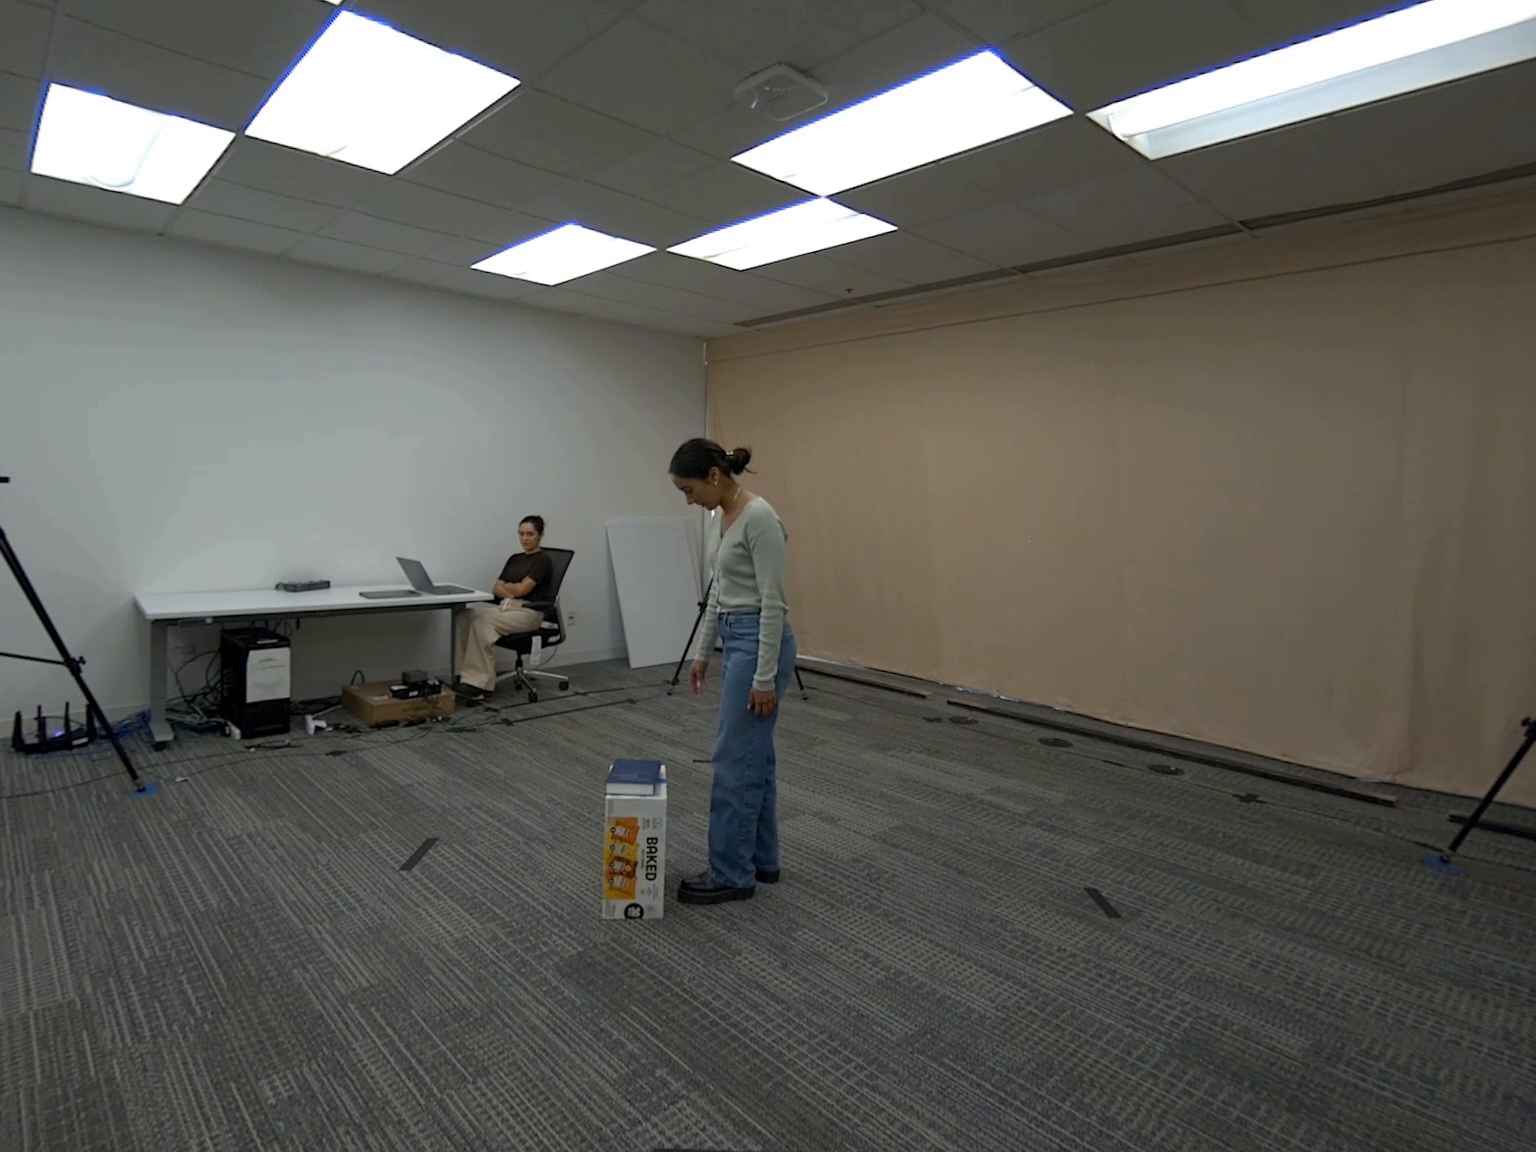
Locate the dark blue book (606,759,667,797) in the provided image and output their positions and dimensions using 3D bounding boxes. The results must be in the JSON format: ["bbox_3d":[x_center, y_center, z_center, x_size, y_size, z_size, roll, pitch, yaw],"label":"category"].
[{"bbox_3d":[-0.461,0.694,2.886,0.163,0.045,0.246,1,6,0],"label":"dark blue book"}]
